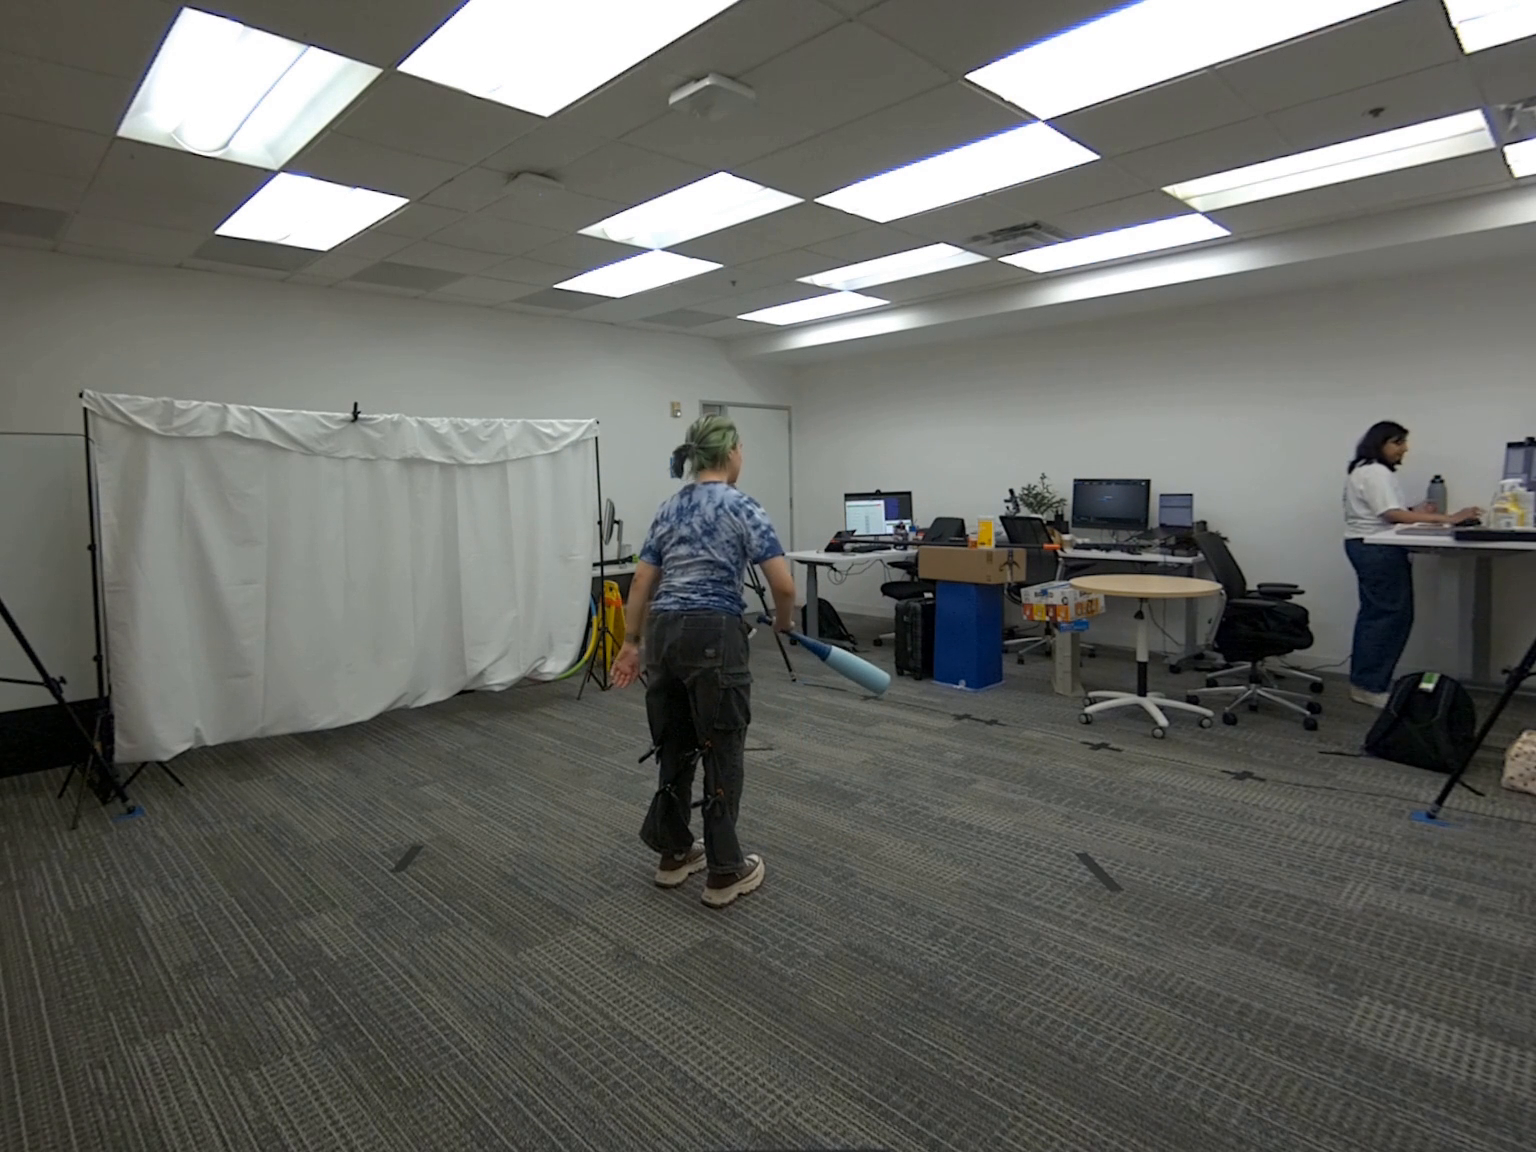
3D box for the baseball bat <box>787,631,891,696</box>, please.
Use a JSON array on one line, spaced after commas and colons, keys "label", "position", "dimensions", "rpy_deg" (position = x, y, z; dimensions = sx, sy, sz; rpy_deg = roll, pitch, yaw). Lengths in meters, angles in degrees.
[{"label": "baseball bat", "position": [0.203, 0.285, 3.129], "dimensions": [0.540, 0.089, 0.089], "rpy_deg": [28, 2, -4]}]
